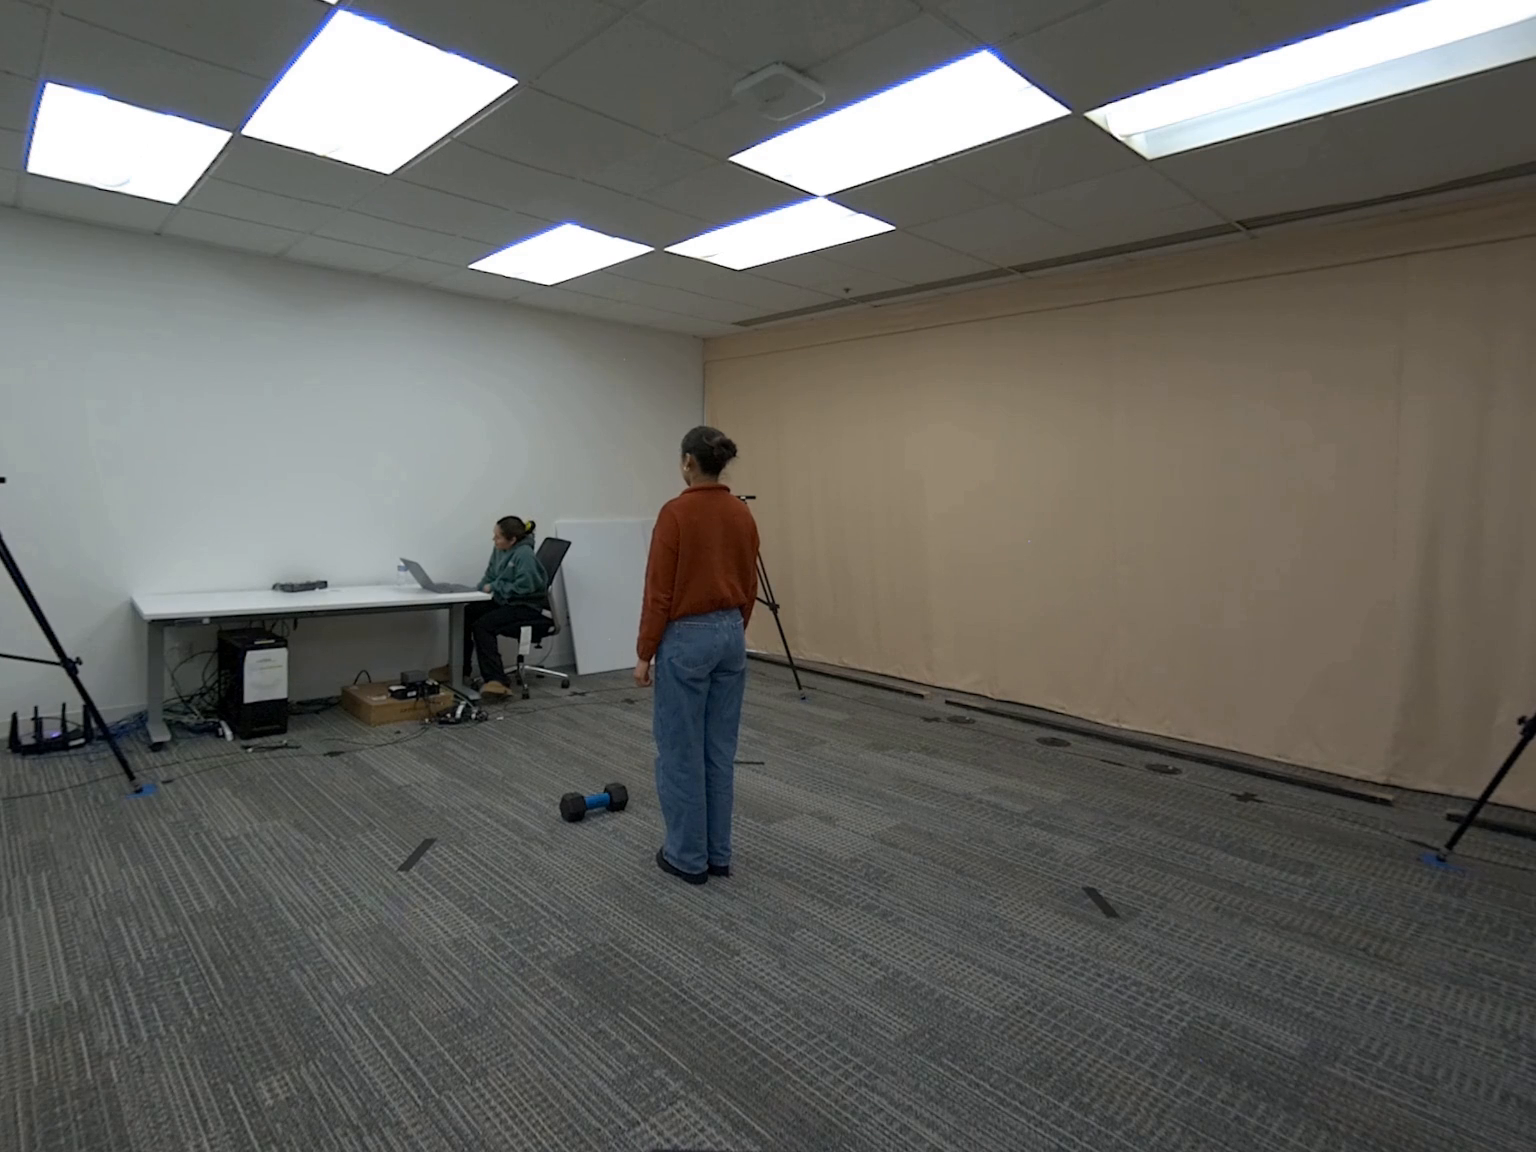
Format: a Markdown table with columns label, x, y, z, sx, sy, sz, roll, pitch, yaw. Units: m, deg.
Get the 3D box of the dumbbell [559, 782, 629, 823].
| label | x | y | z | sx | sy | sz | roll | pitch | yaw |
| --- | --- | --- | --- | --- | --- | --- | --- | --- | --- |
| dumbbell | -0.766 | 0.987 | 3.669 | 0.287 | 0.122 | 0.112 | -3 | 36 | -40 |
